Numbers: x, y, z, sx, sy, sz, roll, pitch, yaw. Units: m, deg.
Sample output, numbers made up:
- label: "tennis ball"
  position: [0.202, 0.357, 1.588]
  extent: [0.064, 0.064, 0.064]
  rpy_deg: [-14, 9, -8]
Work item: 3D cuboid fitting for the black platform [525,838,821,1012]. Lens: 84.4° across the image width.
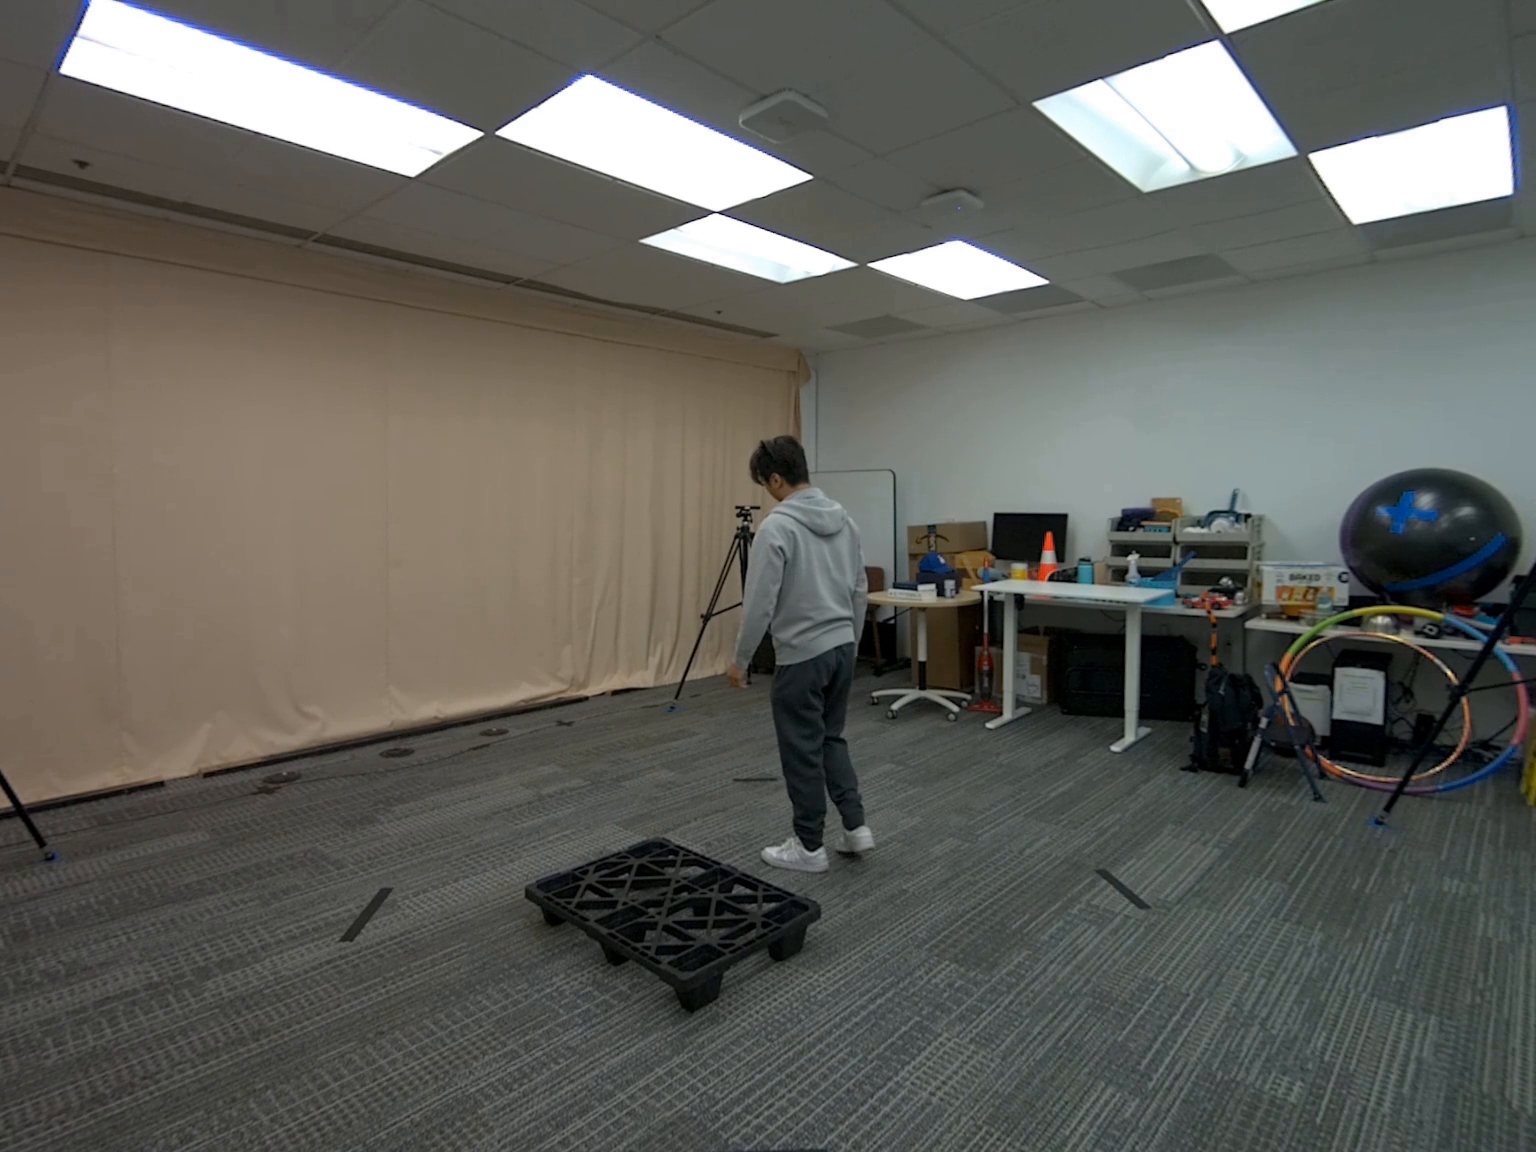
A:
- label: "black platform"
  position: [-0.320, 1.102, 2.733]
  extent: [0.832, 0.143, 0.586]
  rpy_deg: [4, 6, 44]
